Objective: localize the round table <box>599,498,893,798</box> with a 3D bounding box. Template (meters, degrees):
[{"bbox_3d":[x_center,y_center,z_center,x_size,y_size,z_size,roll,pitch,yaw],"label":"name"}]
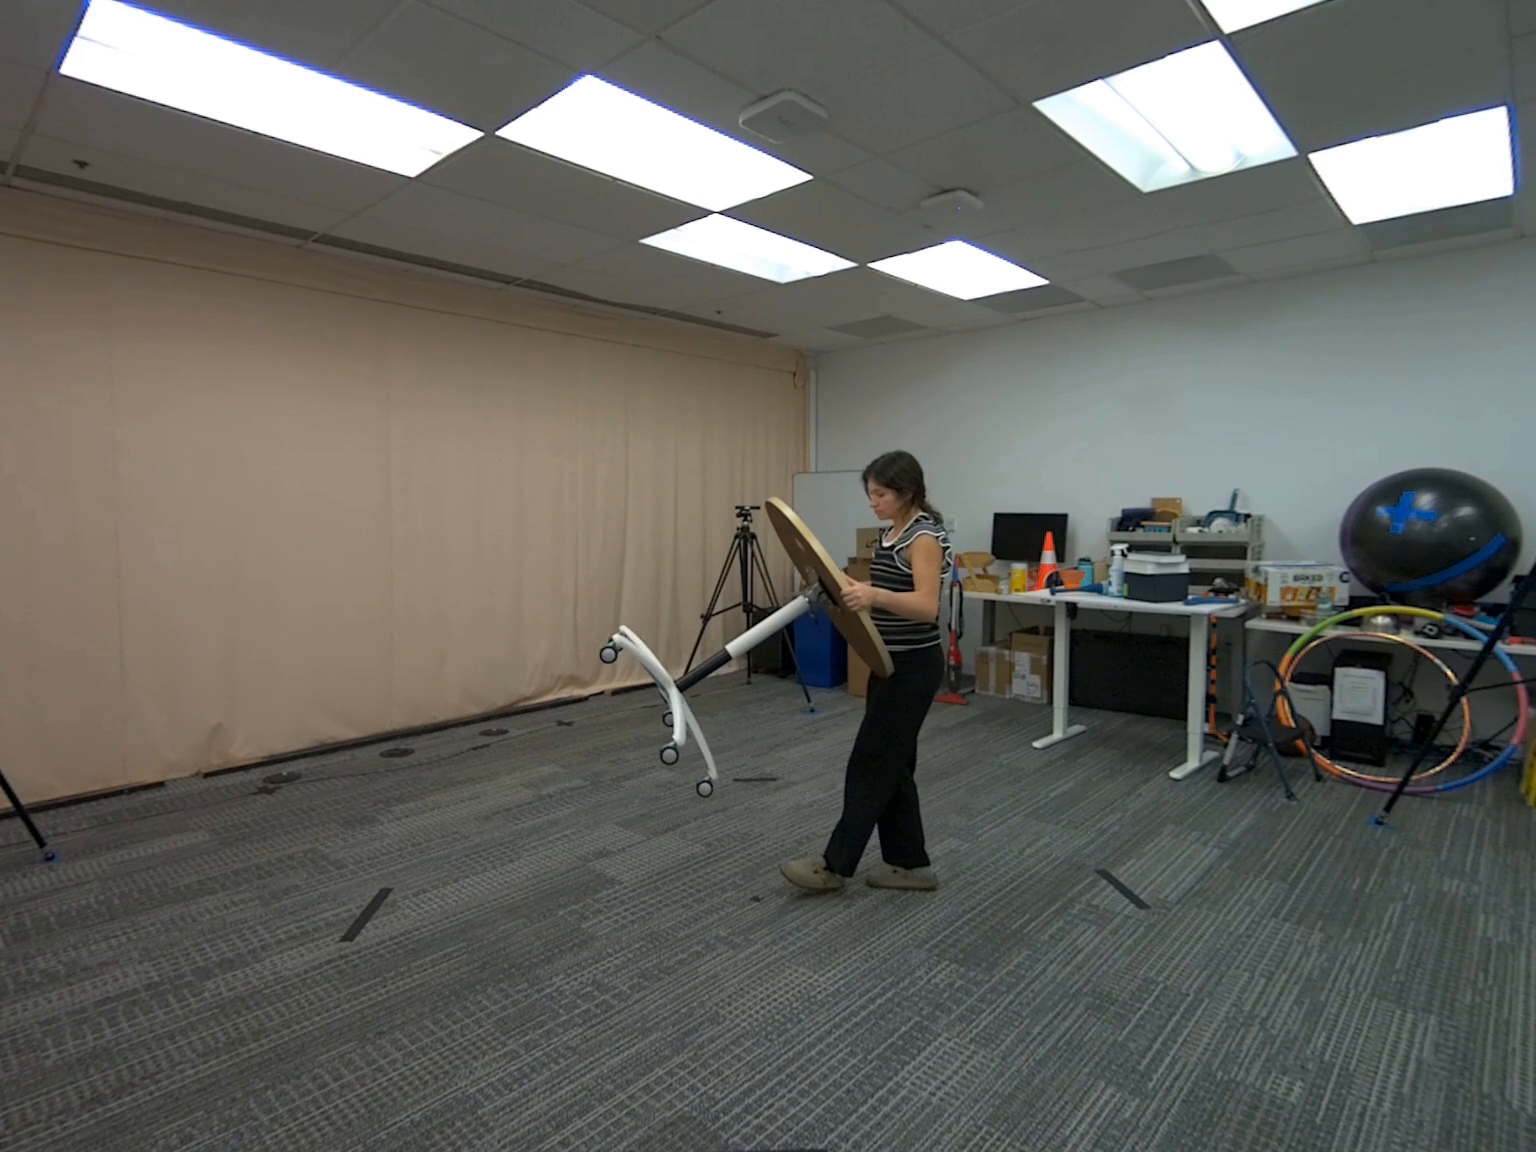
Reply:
[{"bbox_3d":[-0.109,0.266,3.020,0.792,0.759,0.770,-33,6,-3],"label":"round table"}]
